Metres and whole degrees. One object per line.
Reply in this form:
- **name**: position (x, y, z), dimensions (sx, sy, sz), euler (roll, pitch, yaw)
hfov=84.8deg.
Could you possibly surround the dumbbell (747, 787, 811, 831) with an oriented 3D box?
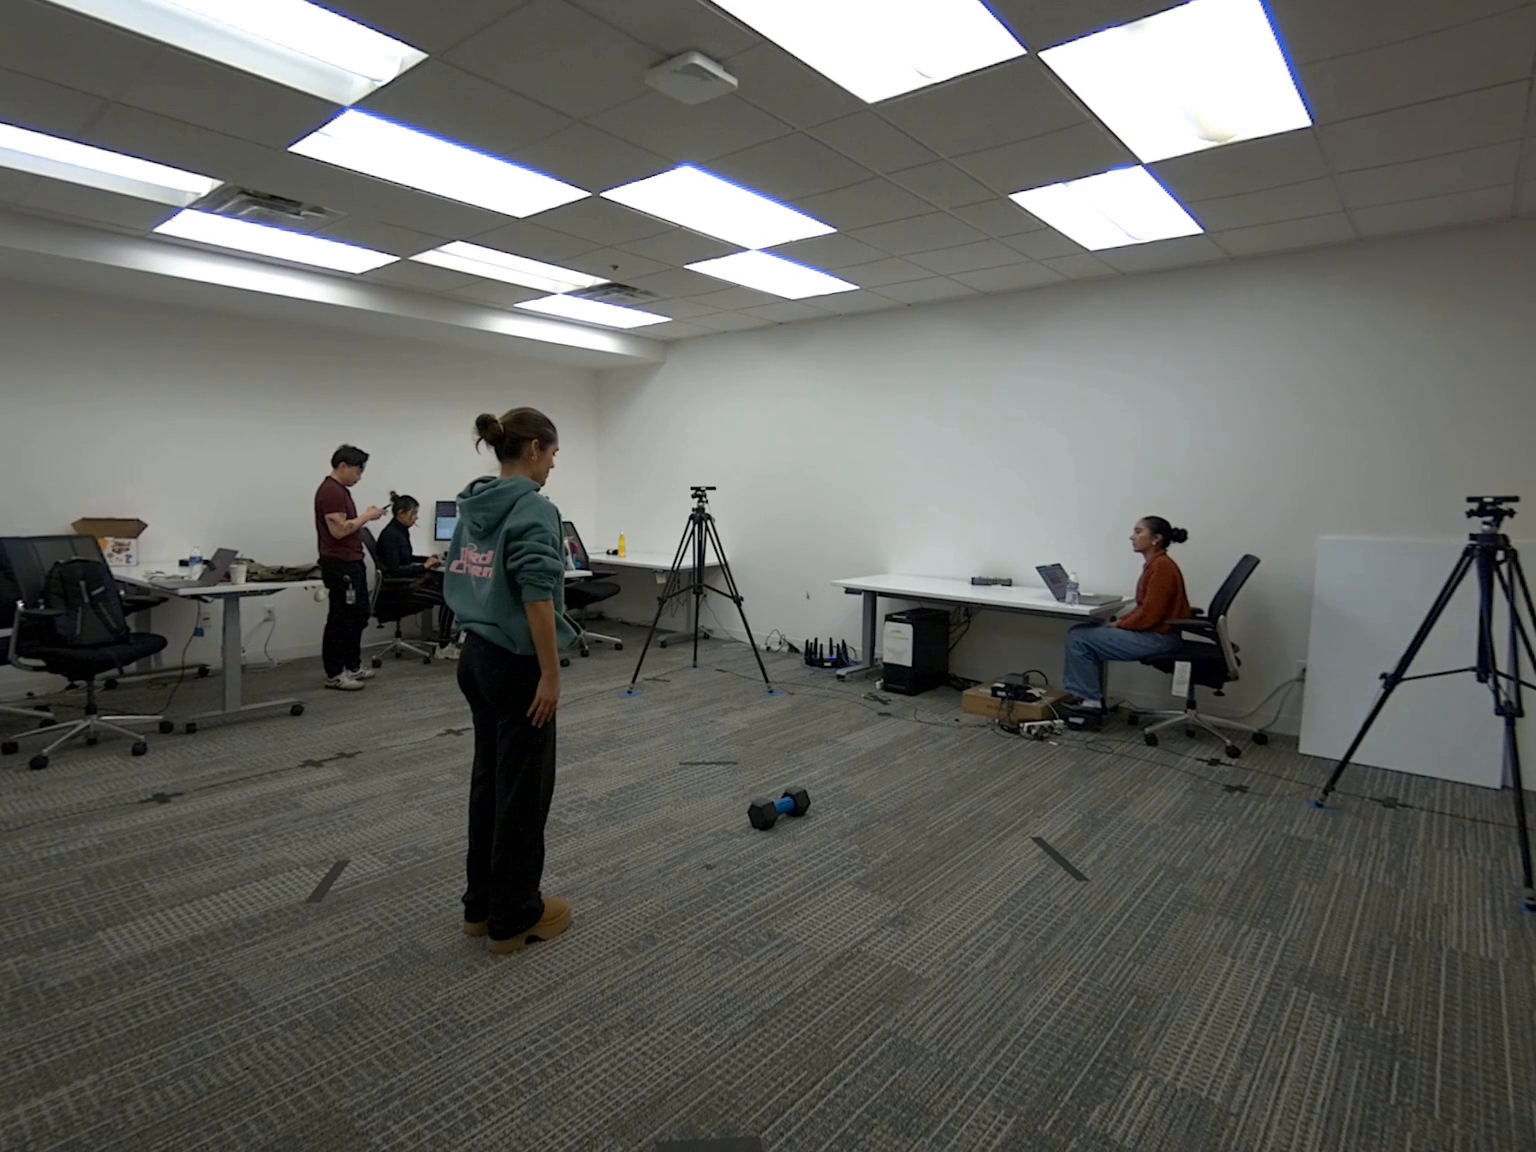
- **dumbbell**: position (0.040, 0.969, 3.575), dimensions (0.285, 0.125, 0.110), euler (-5, -22, -47)
